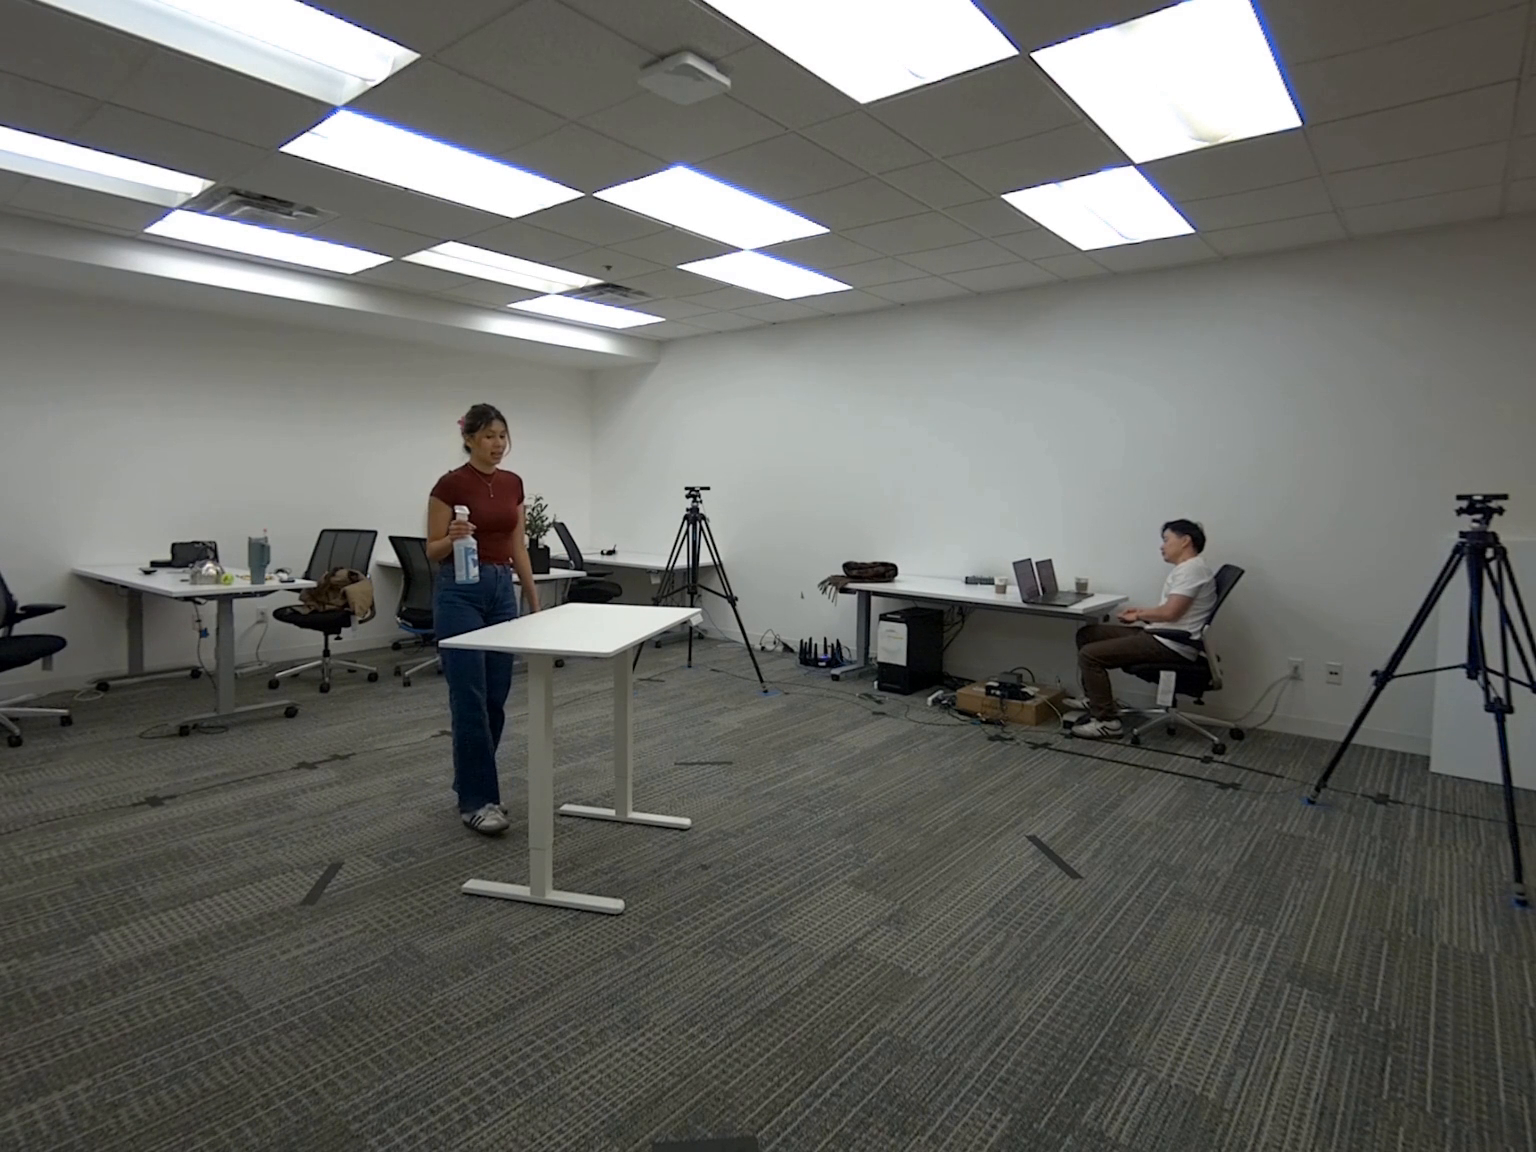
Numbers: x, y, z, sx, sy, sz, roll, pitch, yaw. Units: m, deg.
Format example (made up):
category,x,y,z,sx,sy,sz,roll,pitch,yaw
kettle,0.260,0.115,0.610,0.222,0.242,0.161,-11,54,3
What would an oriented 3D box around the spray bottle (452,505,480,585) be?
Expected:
category,x,y,z,sx,sy,sz,roll,pitch,yaw
spray bottle,-1.177,-0.125,3.254,0.085,0.296,0.092,-2,3,-23
